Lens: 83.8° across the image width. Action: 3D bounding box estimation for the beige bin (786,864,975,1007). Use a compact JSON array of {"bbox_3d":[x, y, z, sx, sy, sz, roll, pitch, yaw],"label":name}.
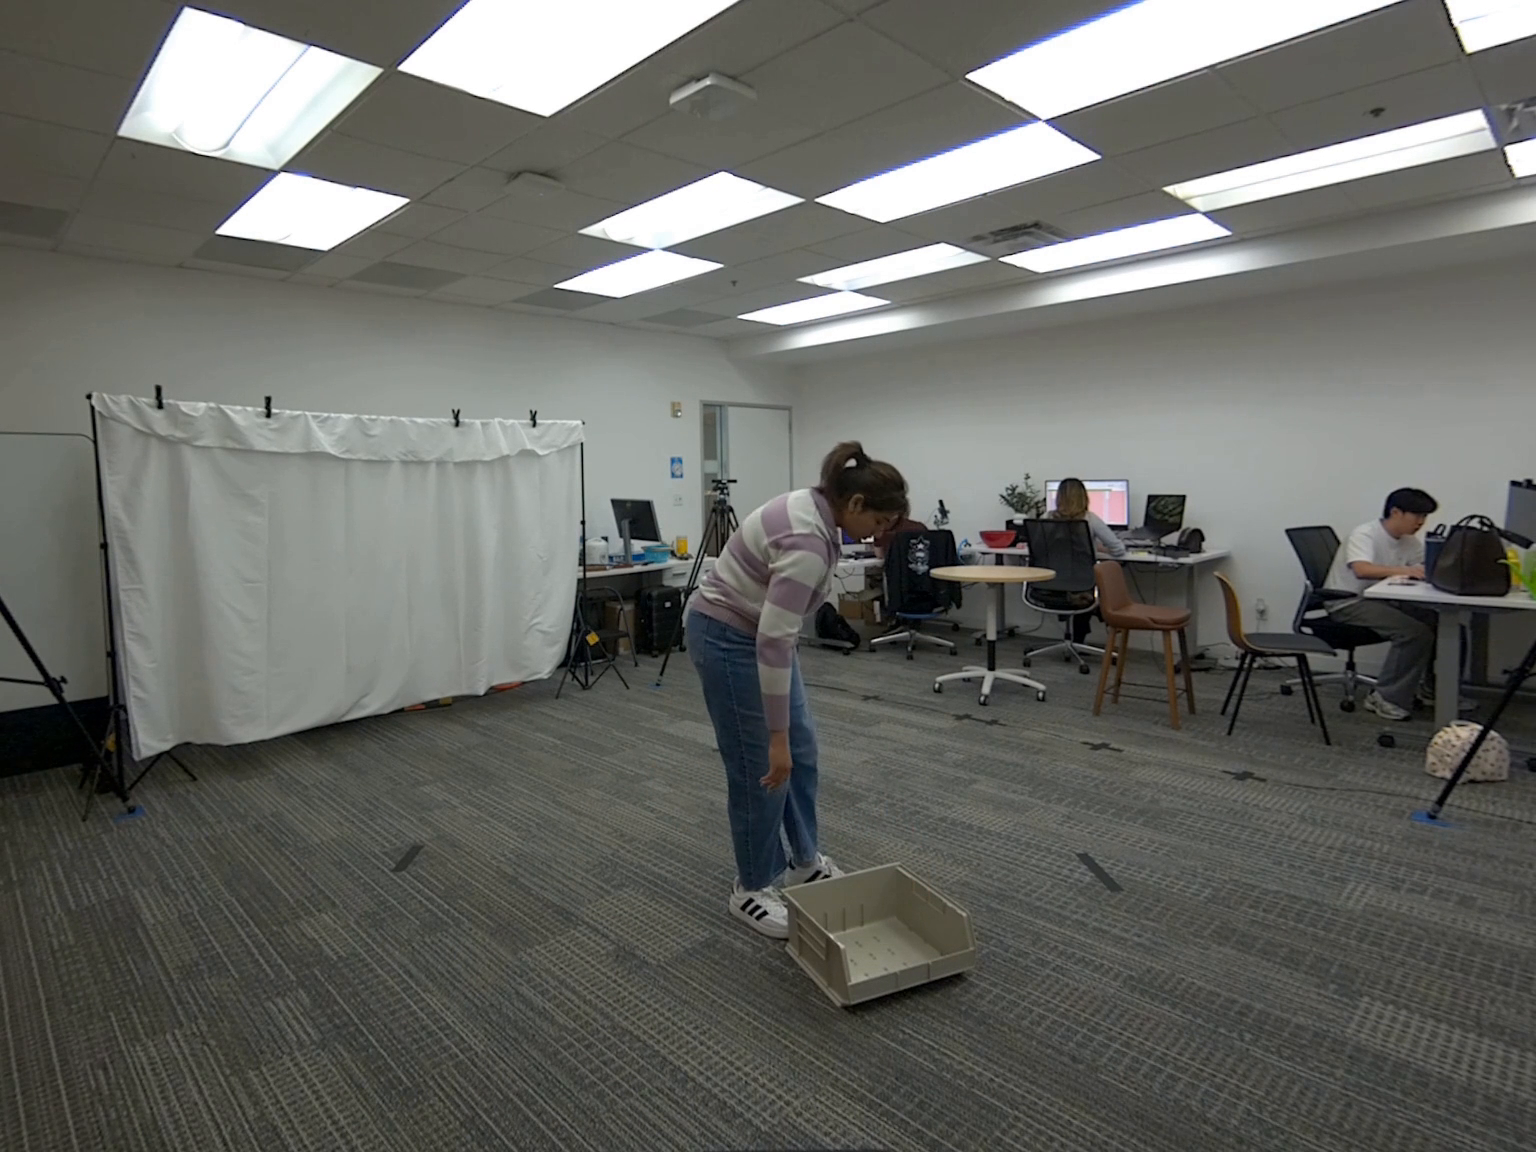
[{"bbox_3d":[0.313,1.027,2.451,0.414,0.188,0.386,-4,6,-24],"label":"beige bin"}]
